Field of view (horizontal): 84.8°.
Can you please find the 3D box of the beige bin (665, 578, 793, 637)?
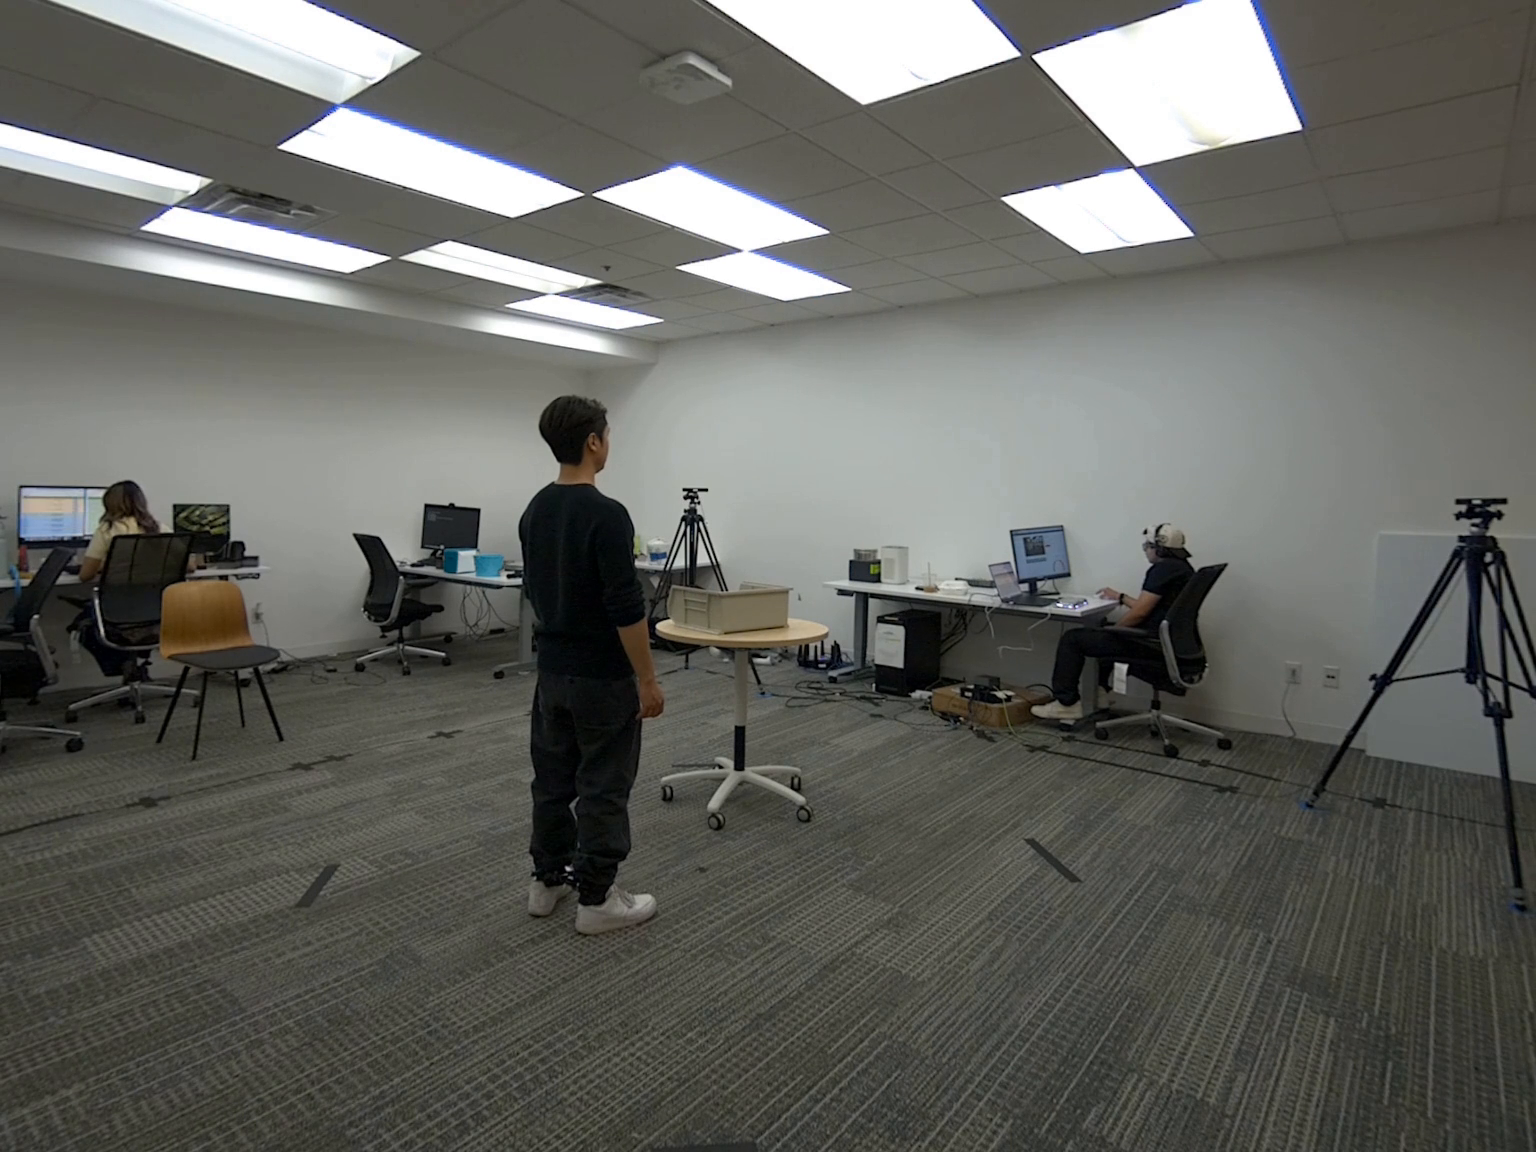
[{"bbox_3d":[-0.180,0.130,3.788,0.409,0.188,0.390,-3,7,-42],"label":"beige bin"}]
